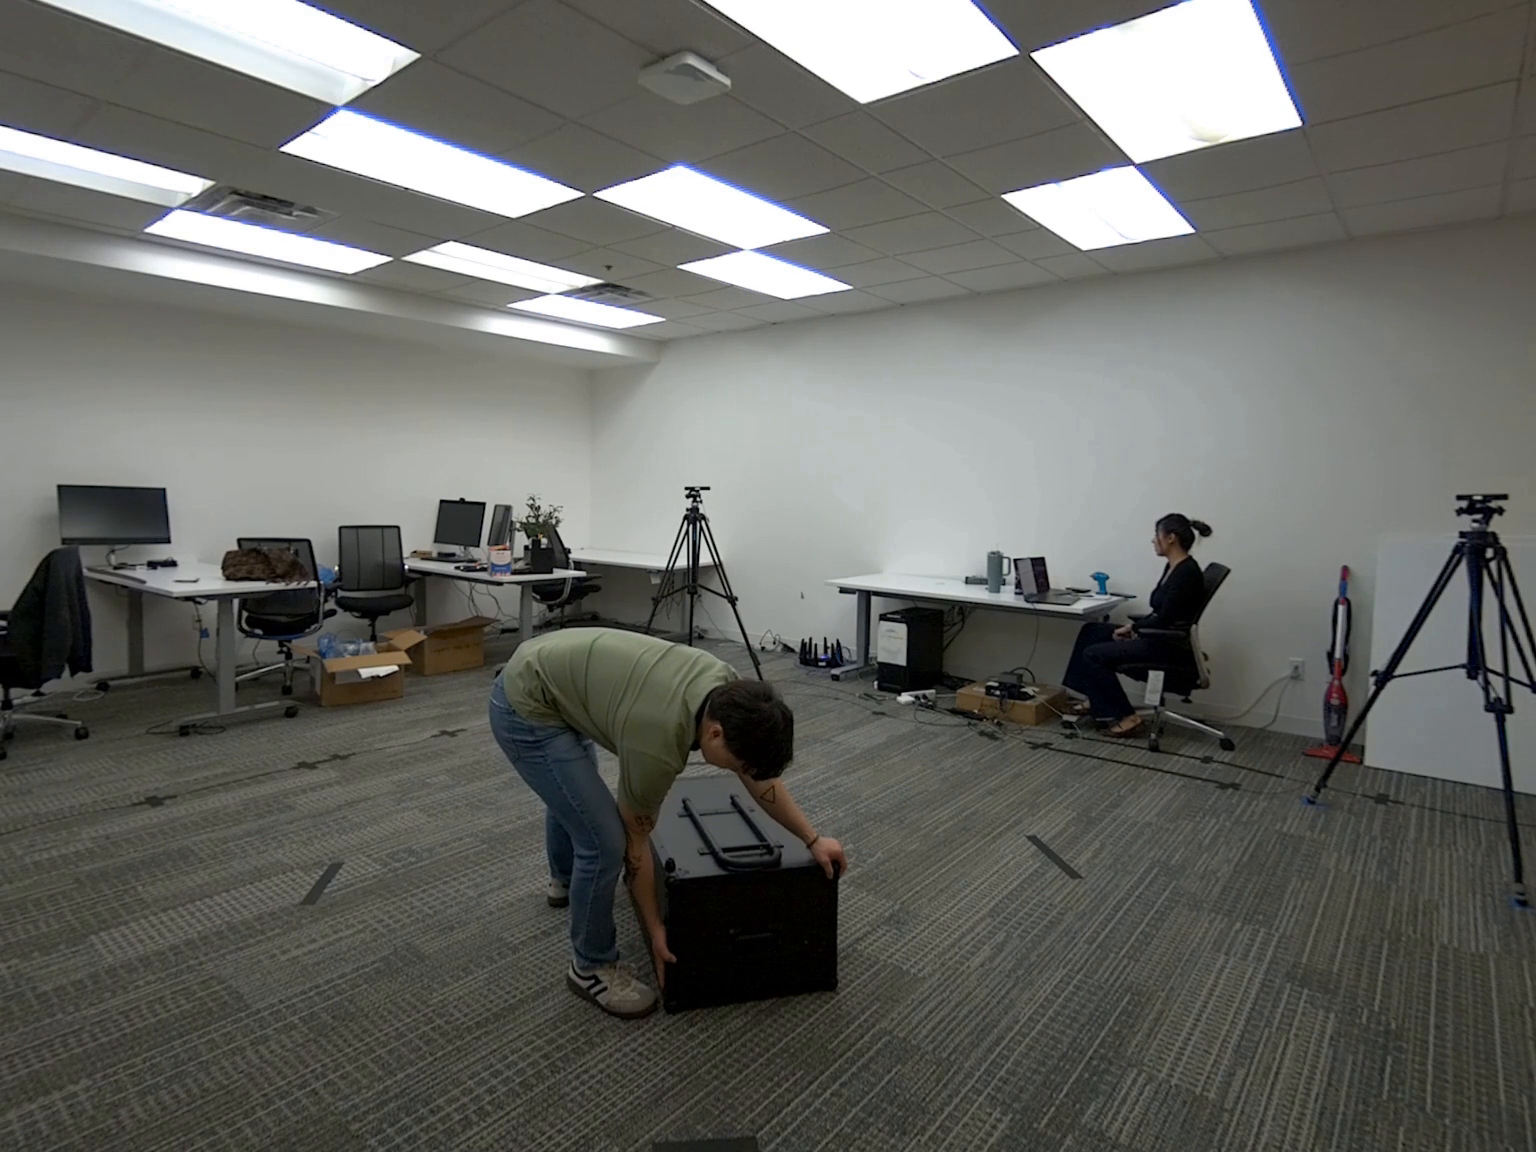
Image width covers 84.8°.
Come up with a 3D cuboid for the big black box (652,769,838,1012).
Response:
[{"bbox_3d":[-0.174,0.909,2.698,0.512,0.395,0.878,-1,4,-17],"label":"big black box"}]
